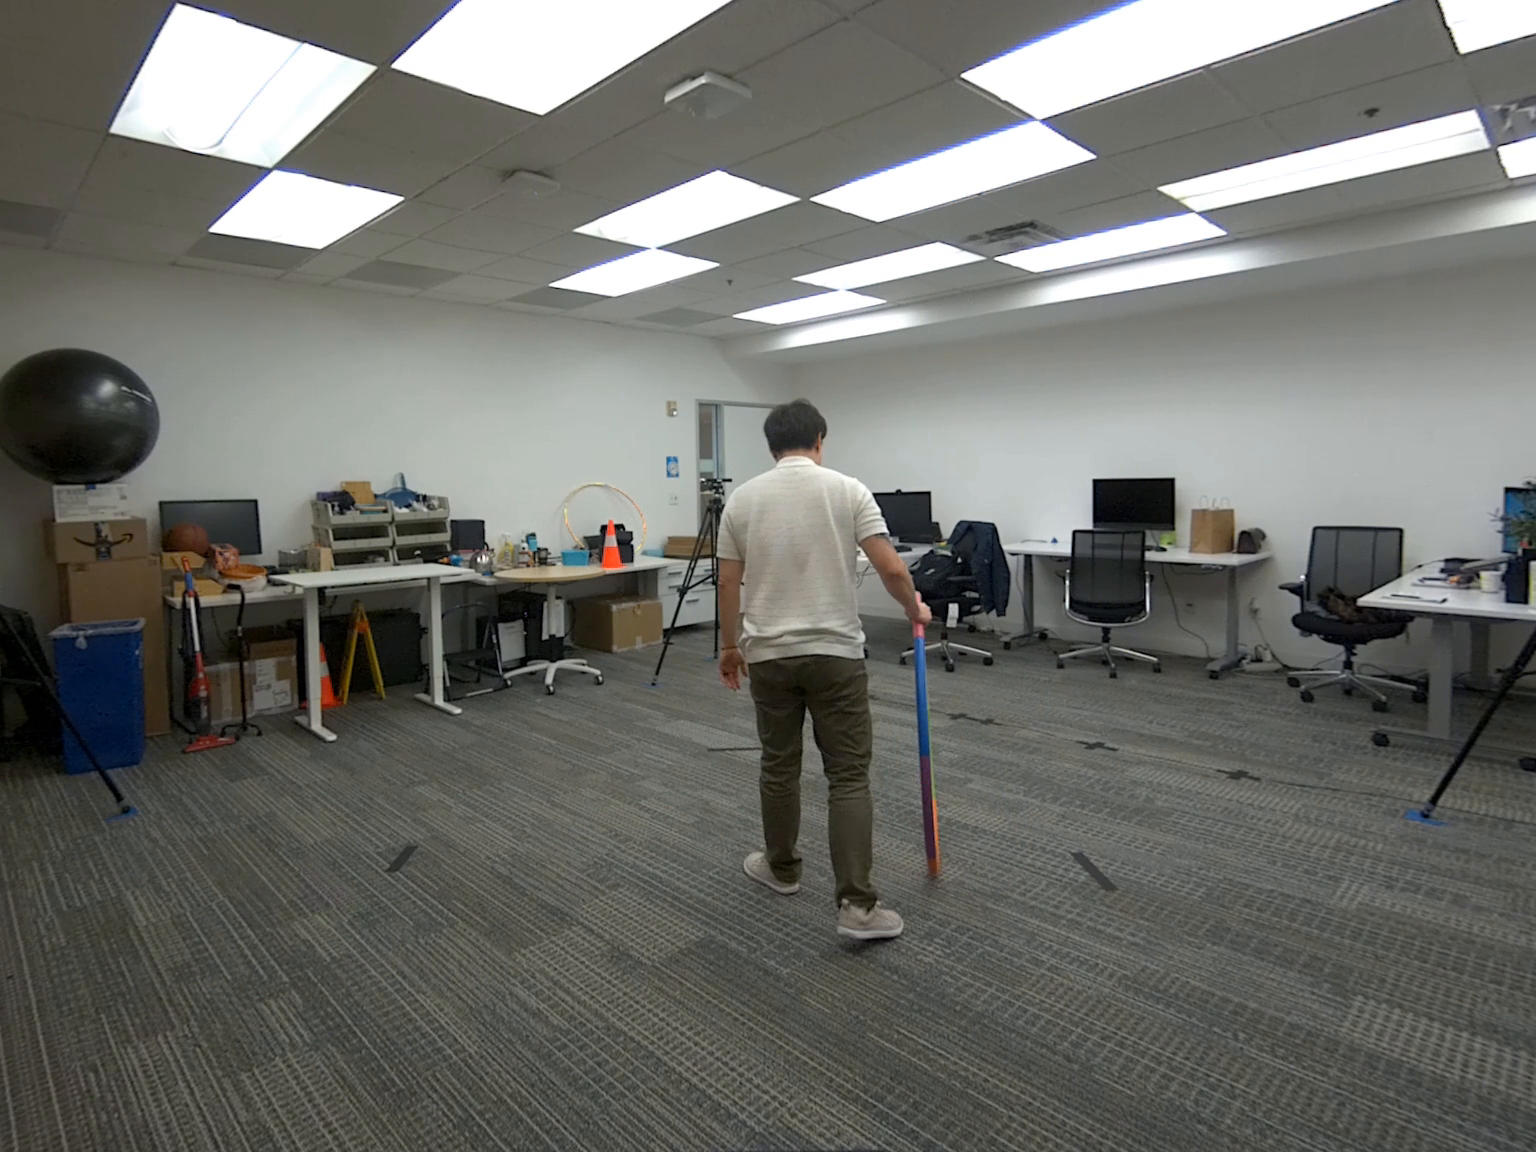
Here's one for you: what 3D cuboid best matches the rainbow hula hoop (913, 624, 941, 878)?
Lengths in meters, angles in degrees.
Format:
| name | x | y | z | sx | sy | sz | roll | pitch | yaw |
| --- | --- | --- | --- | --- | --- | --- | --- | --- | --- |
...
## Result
| name | x | y | z | sx | sy | sz | roll | pitch | yaw |
| --- | --- | --- | --- | --- | --- | --- | --- | --- | --- |
| rainbow hula hoop | 0.570 | 0.553 | 3.081 | 0.036 | 0.975 | 0.973 | -4 | 4 | 8 |
